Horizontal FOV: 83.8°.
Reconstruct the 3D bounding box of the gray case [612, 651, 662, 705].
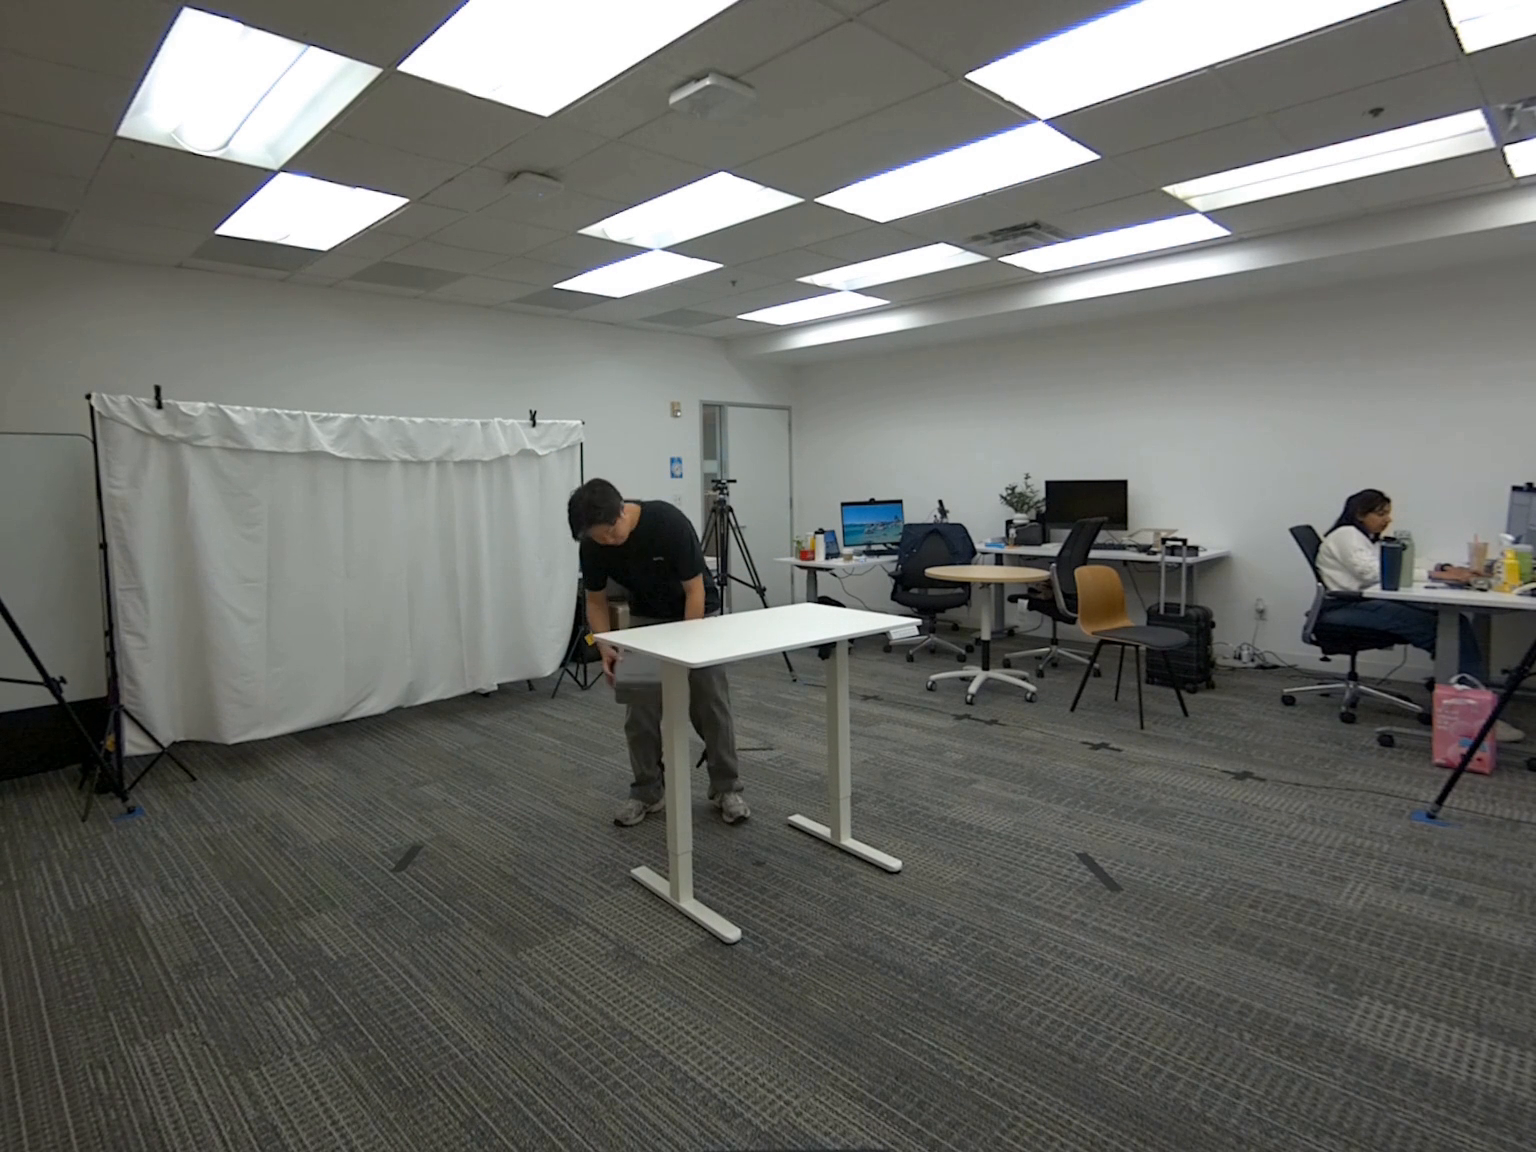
[{"bbox_3d":[-0.457,0.406,3.273,0.261,0.102,0.293,1,17,-8],"label":"gray case"}]
